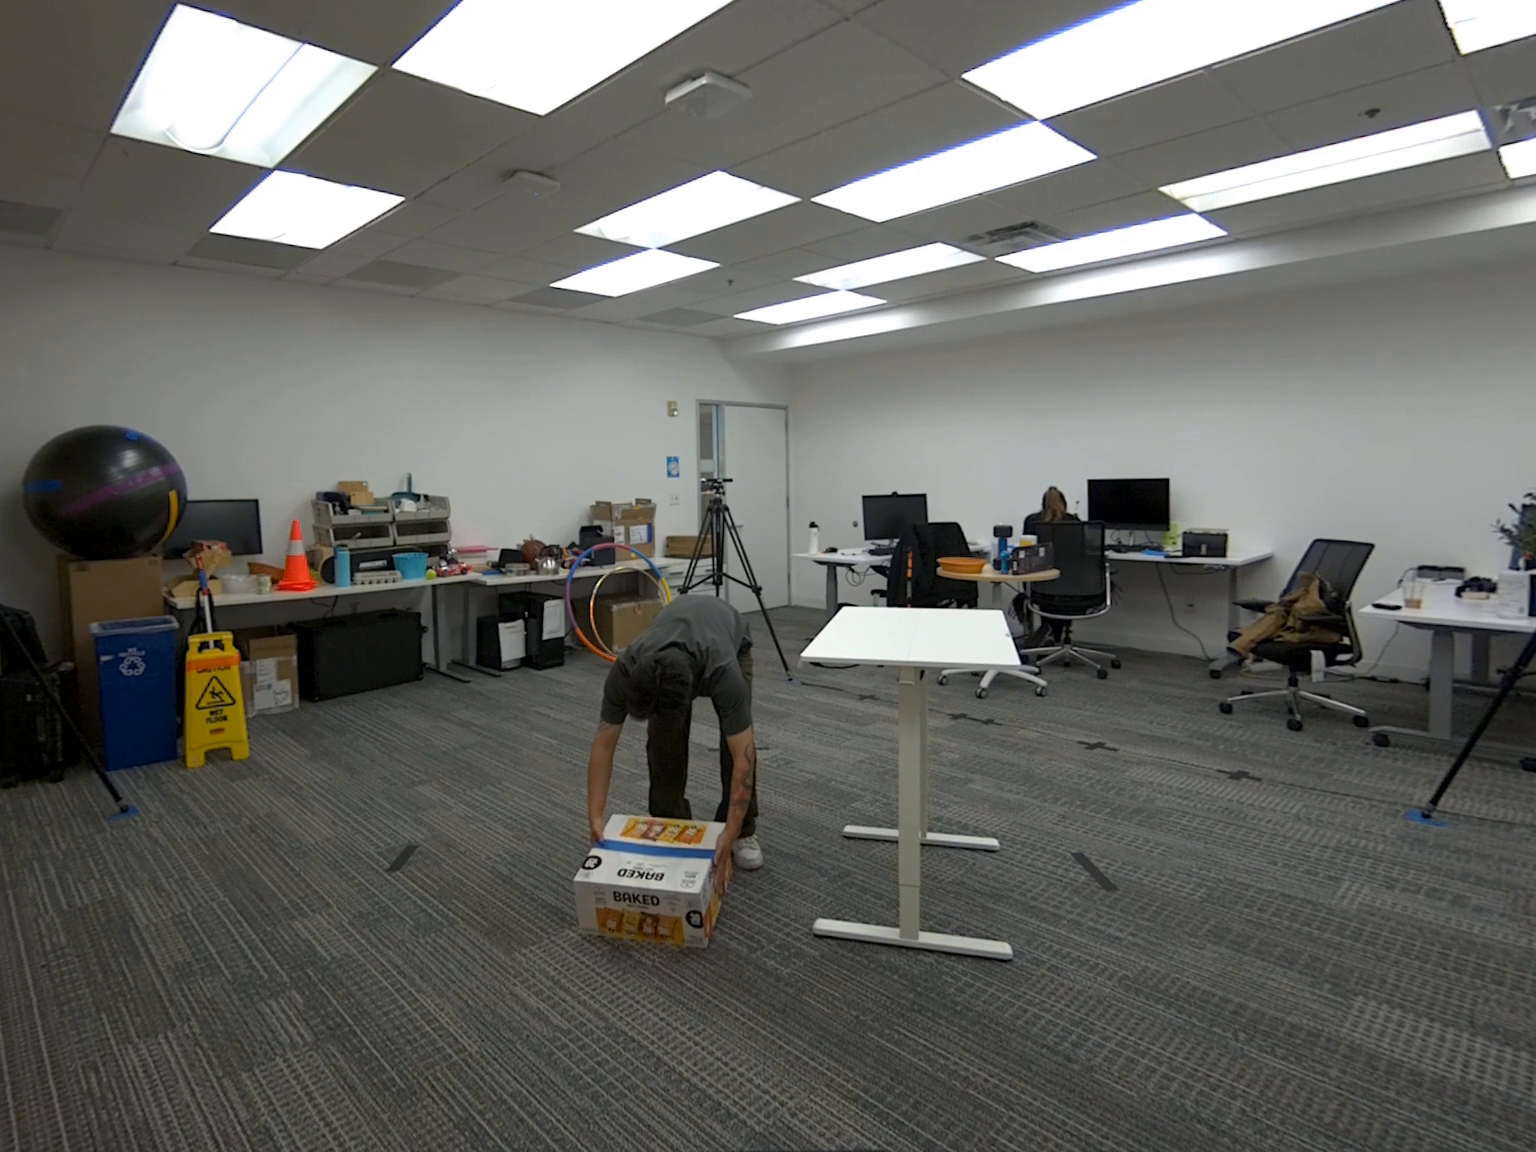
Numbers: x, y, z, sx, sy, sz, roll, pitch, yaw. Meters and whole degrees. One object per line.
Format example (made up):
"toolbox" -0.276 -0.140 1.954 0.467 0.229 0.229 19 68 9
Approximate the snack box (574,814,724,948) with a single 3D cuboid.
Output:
"snack box" -0.363 0.962 2.726 0.410 0.202 0.341 0 18 13
